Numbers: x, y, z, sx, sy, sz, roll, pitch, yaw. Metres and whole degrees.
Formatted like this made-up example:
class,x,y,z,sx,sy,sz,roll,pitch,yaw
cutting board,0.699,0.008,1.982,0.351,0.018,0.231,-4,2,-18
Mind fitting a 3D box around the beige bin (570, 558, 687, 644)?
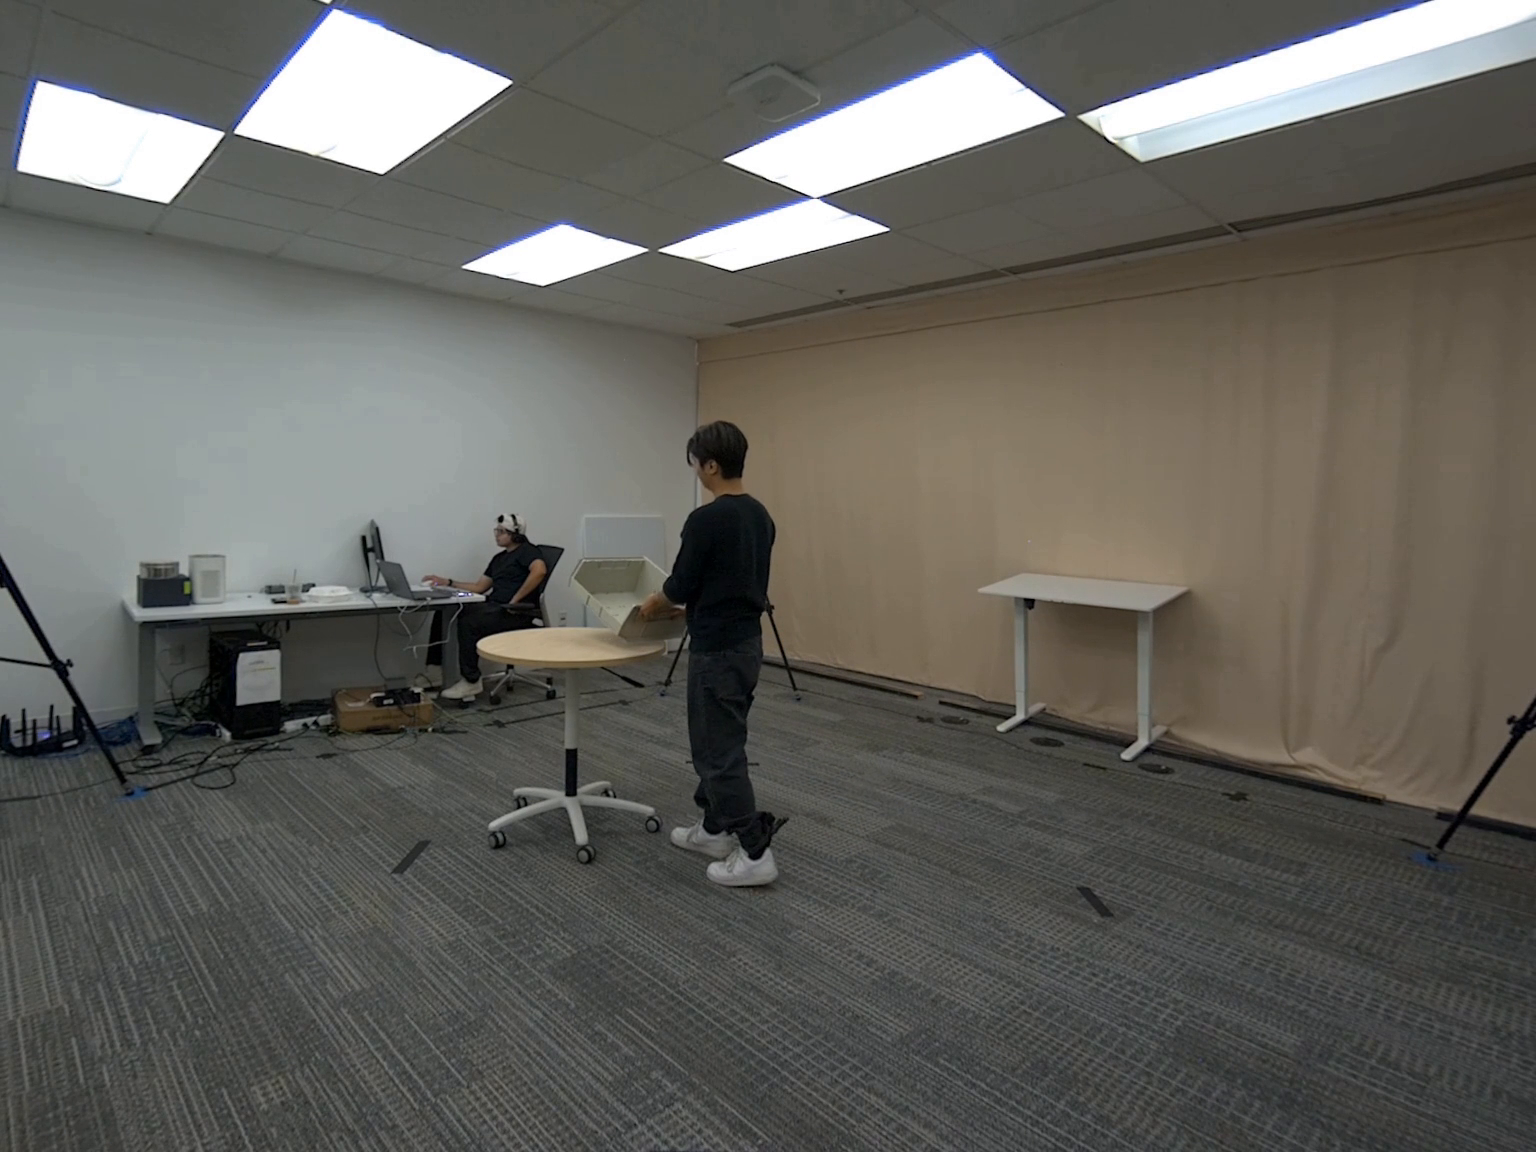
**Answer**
class,x,y,z,sx,sy,sz,roll,pitch,yaw
beige bin,-0.578,0.096,3.567,0.368,0.187,0.436,-1,26,-45
